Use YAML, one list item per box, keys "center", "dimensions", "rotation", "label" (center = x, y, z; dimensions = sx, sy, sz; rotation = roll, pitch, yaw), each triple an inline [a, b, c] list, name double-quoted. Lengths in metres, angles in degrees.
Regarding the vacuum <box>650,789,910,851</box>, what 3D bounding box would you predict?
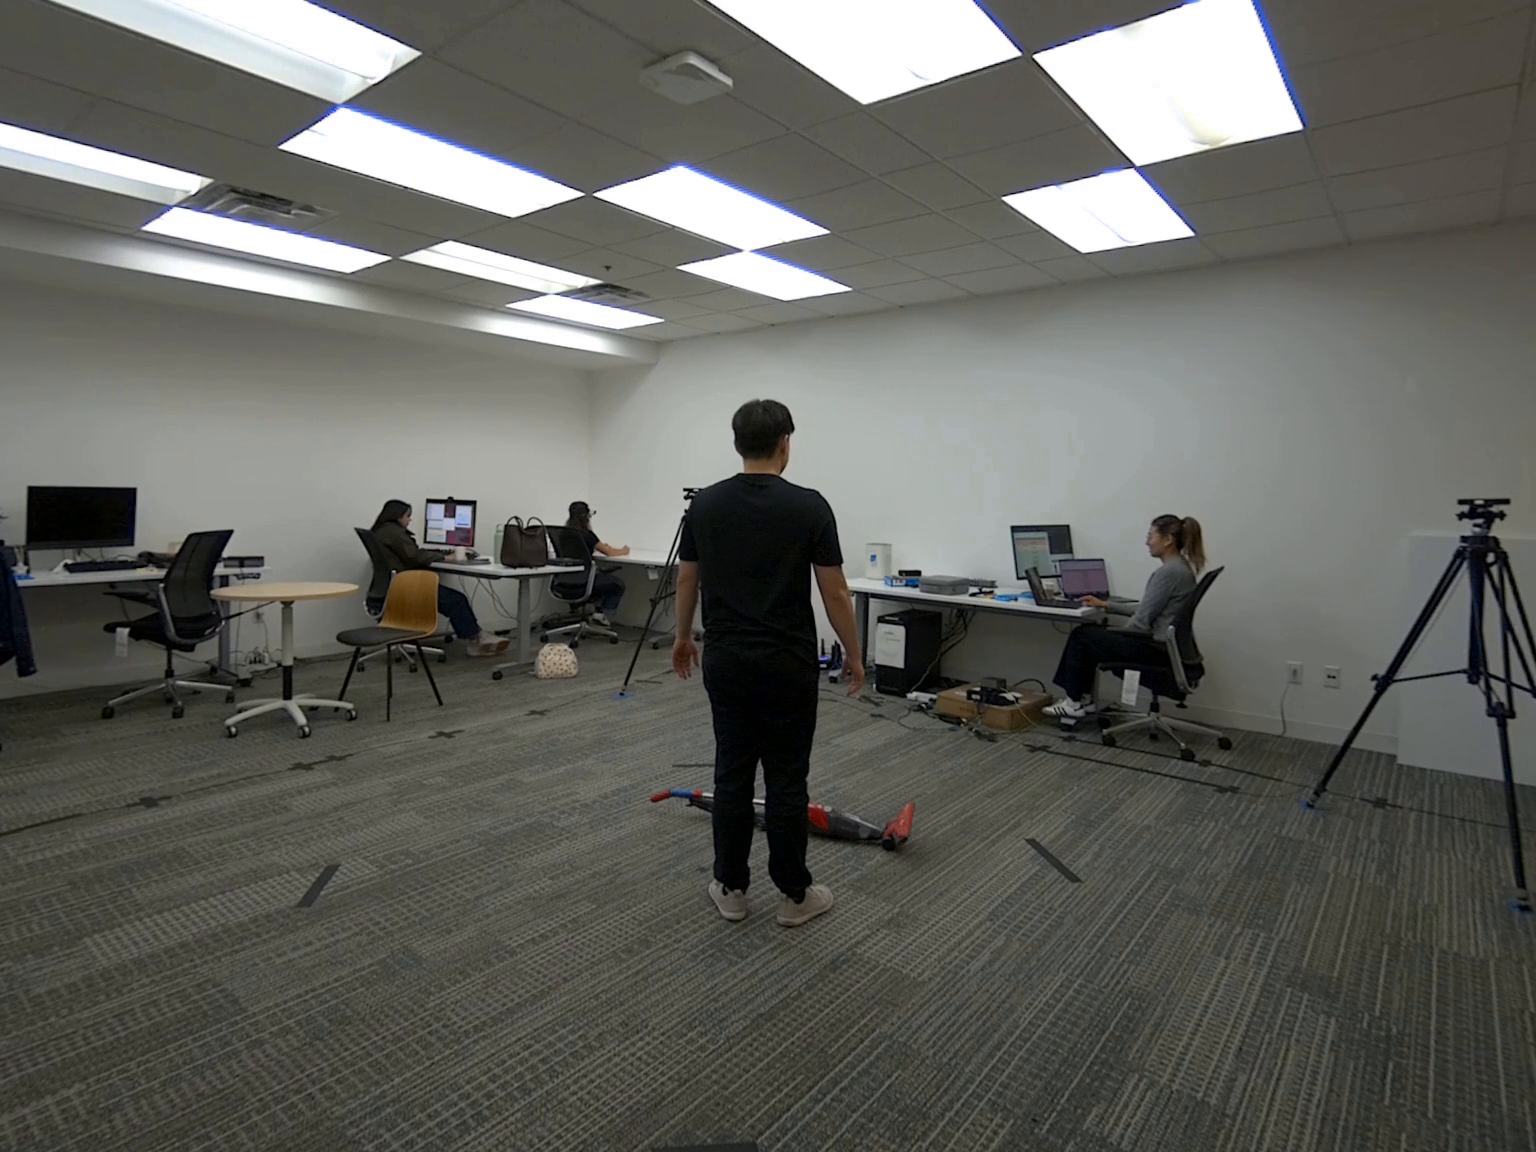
- center: [0.007, 0.984, 3.500]
  dimensions: [1.069, 0.142, 0.251]
  rotation: [2, 15, 17]
  label: "vacuum"
